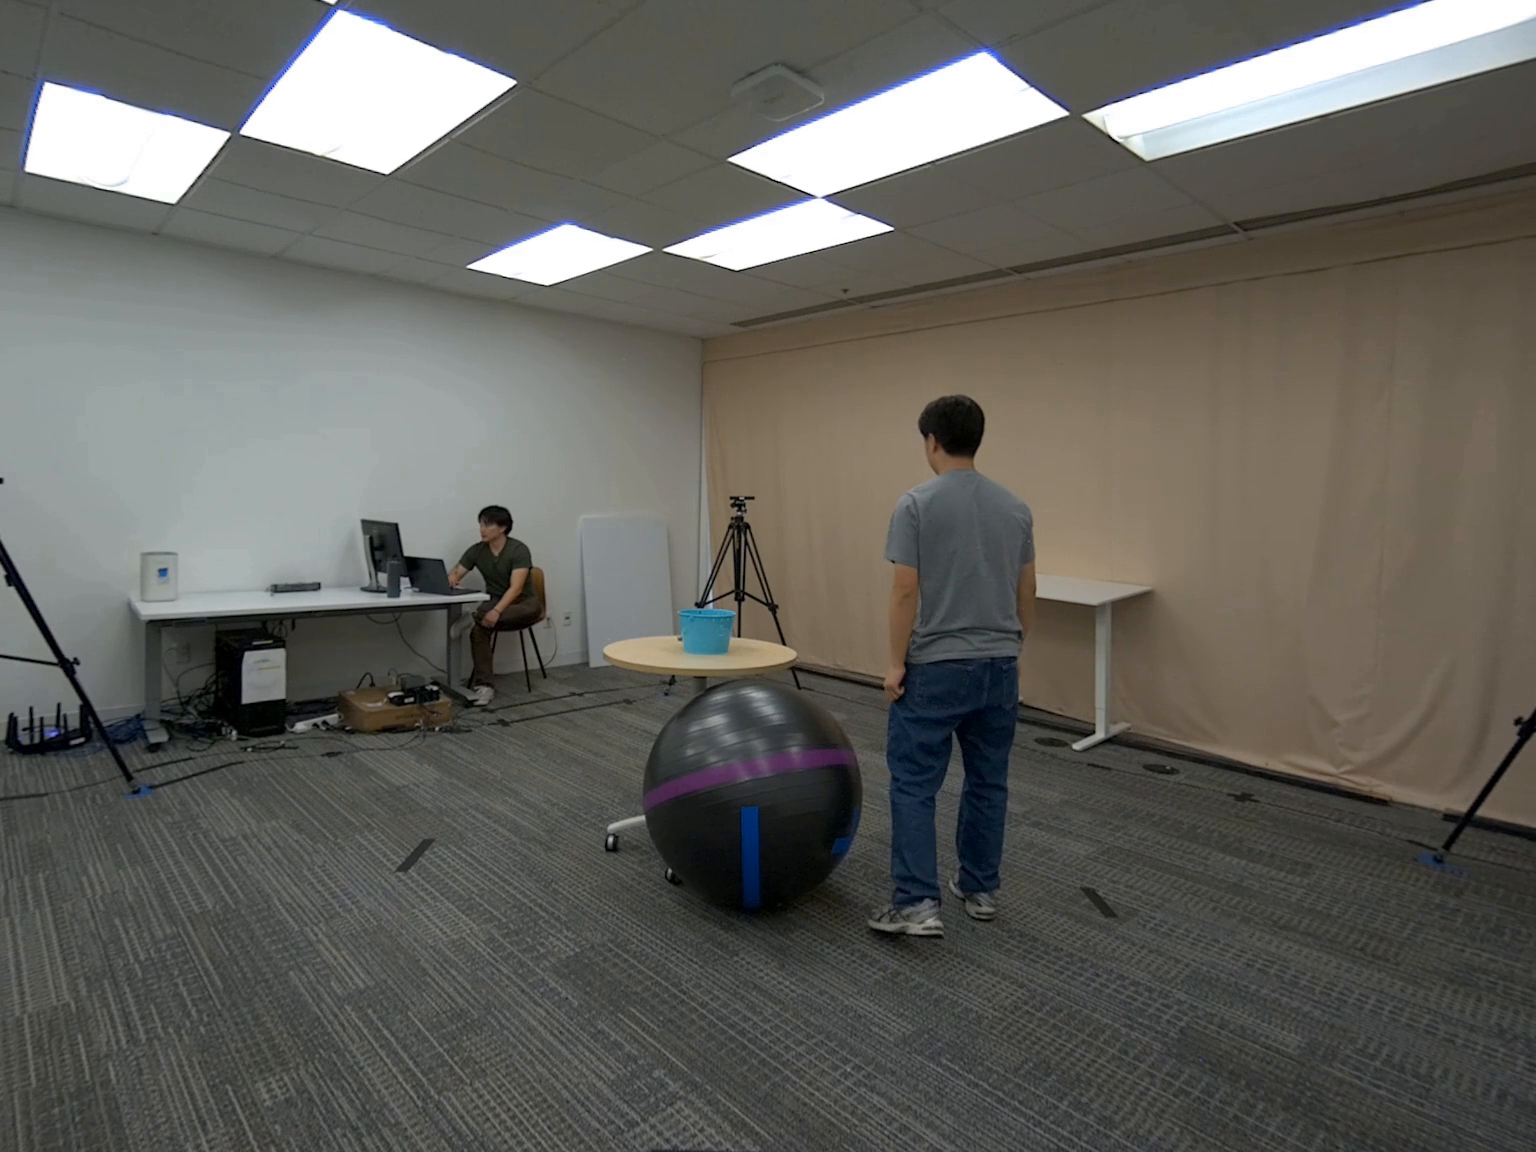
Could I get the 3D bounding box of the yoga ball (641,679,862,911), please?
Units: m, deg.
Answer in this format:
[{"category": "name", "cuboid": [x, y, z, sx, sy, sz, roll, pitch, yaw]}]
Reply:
[{"category": "yoga ball", "cuboid": [-0.060, 0.753, 2.920, 0.757, 0.756, 0.761, 1, 4, -1]}]
